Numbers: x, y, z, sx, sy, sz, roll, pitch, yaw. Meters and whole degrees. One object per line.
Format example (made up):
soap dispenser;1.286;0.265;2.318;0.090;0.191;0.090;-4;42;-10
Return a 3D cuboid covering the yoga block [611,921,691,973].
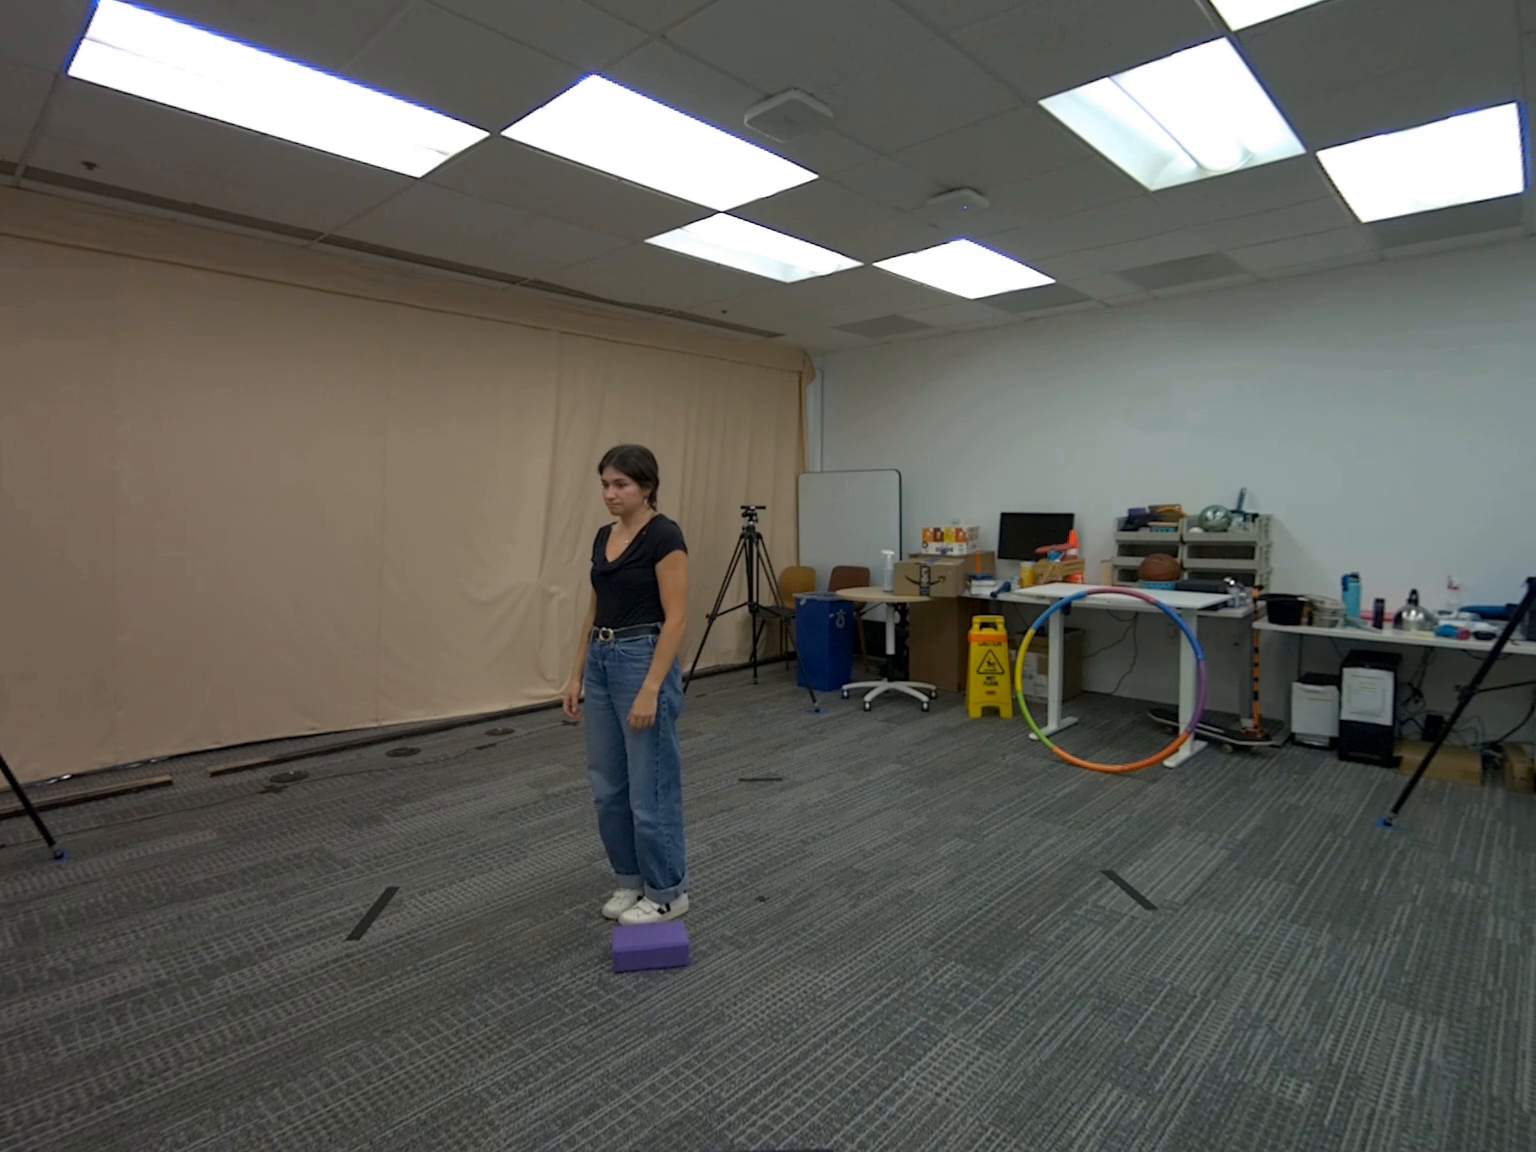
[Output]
yoga block;-0.363;1.134;2.593;0.227;0.076;0.151;0;4;-11
